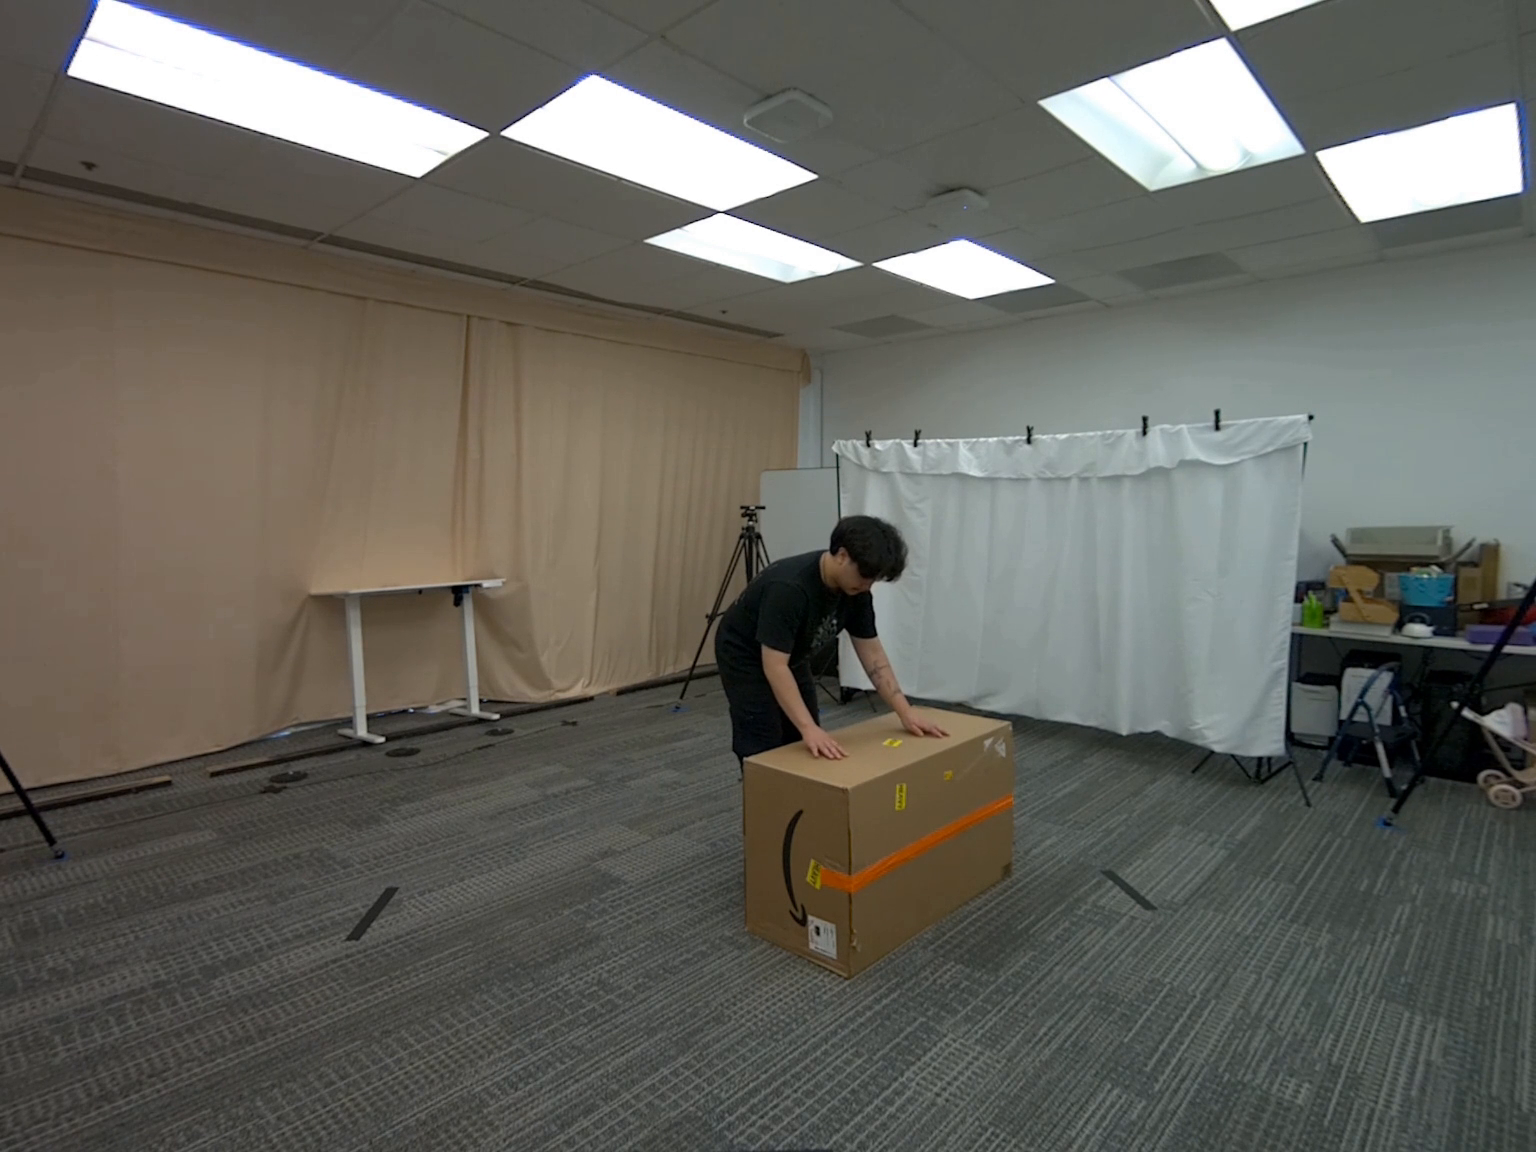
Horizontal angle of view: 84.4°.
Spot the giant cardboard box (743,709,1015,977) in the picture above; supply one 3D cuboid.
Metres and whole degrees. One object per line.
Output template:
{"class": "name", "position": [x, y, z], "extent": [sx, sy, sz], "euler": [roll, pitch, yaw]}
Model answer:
{"class": "giant cardboard box", "position": [0.429, 0.861, 2.952], "extent": [0.462, 0.582, 0.996], "euler": [4, 7, 43]}
